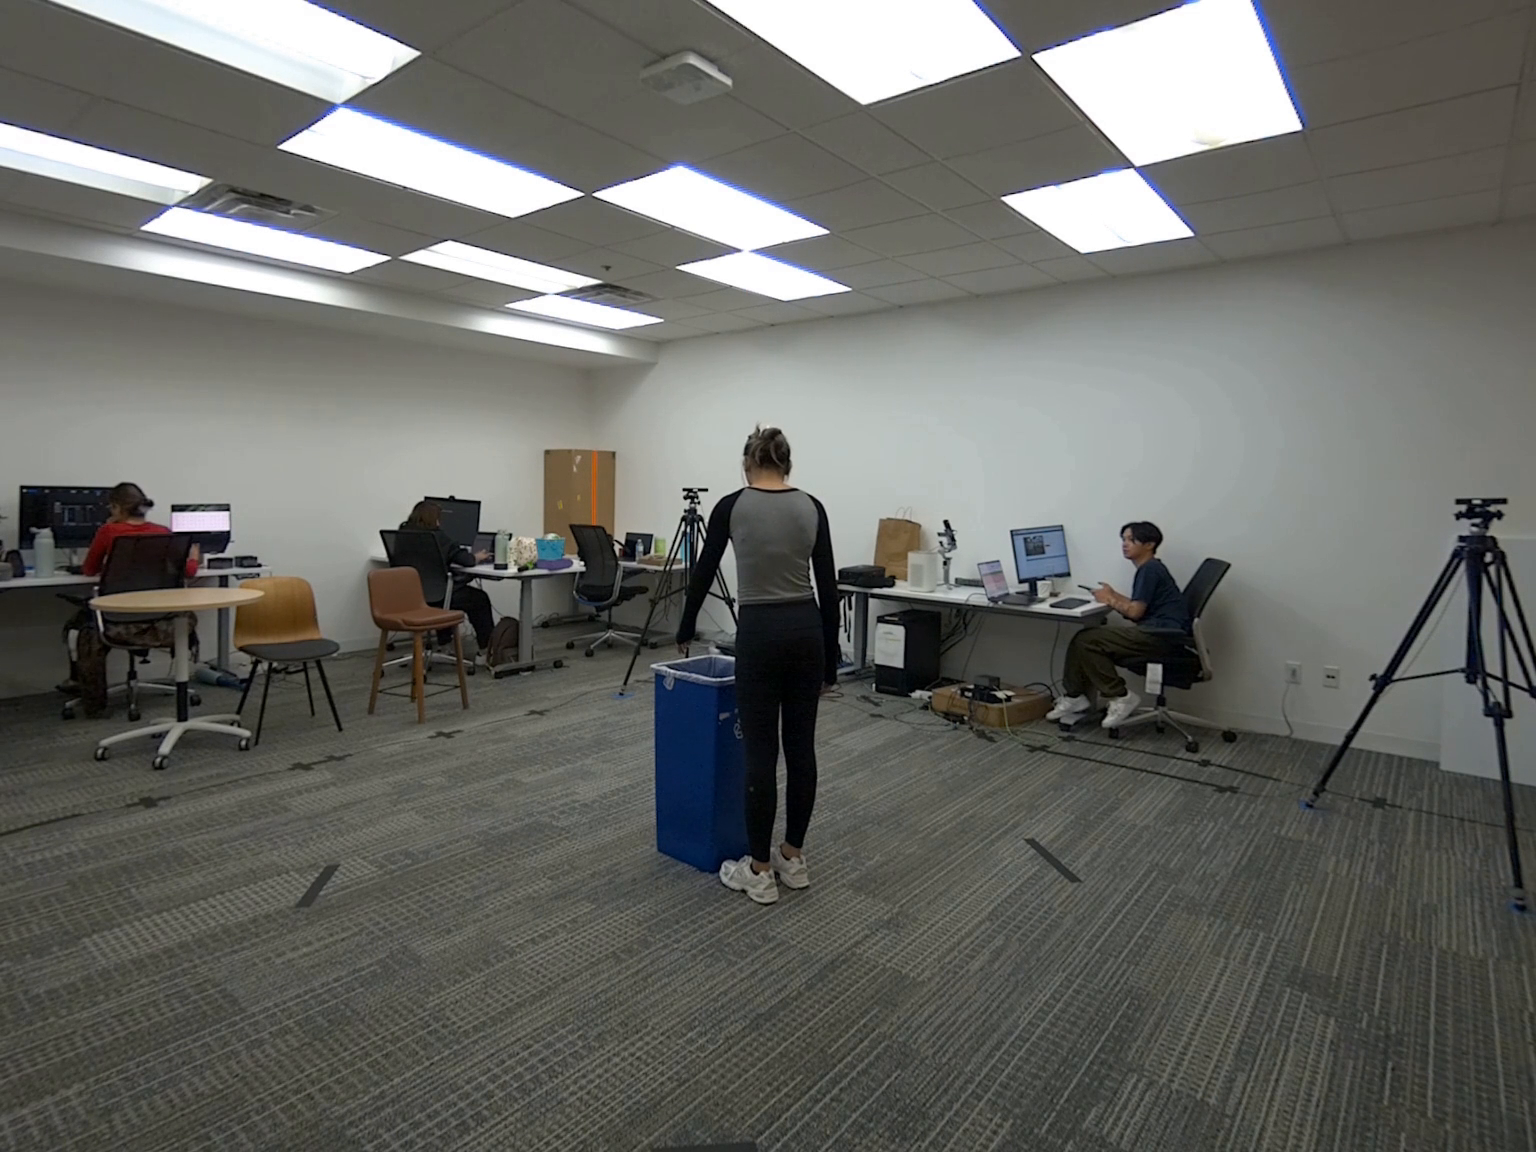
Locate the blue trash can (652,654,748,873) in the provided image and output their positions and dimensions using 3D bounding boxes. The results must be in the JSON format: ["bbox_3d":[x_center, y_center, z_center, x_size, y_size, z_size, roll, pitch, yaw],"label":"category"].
[{"bbox_3d":[-0.222,0.697,3.268,0.391,0.711,0.363,4,4,41],"label":"blue trash can"}]
